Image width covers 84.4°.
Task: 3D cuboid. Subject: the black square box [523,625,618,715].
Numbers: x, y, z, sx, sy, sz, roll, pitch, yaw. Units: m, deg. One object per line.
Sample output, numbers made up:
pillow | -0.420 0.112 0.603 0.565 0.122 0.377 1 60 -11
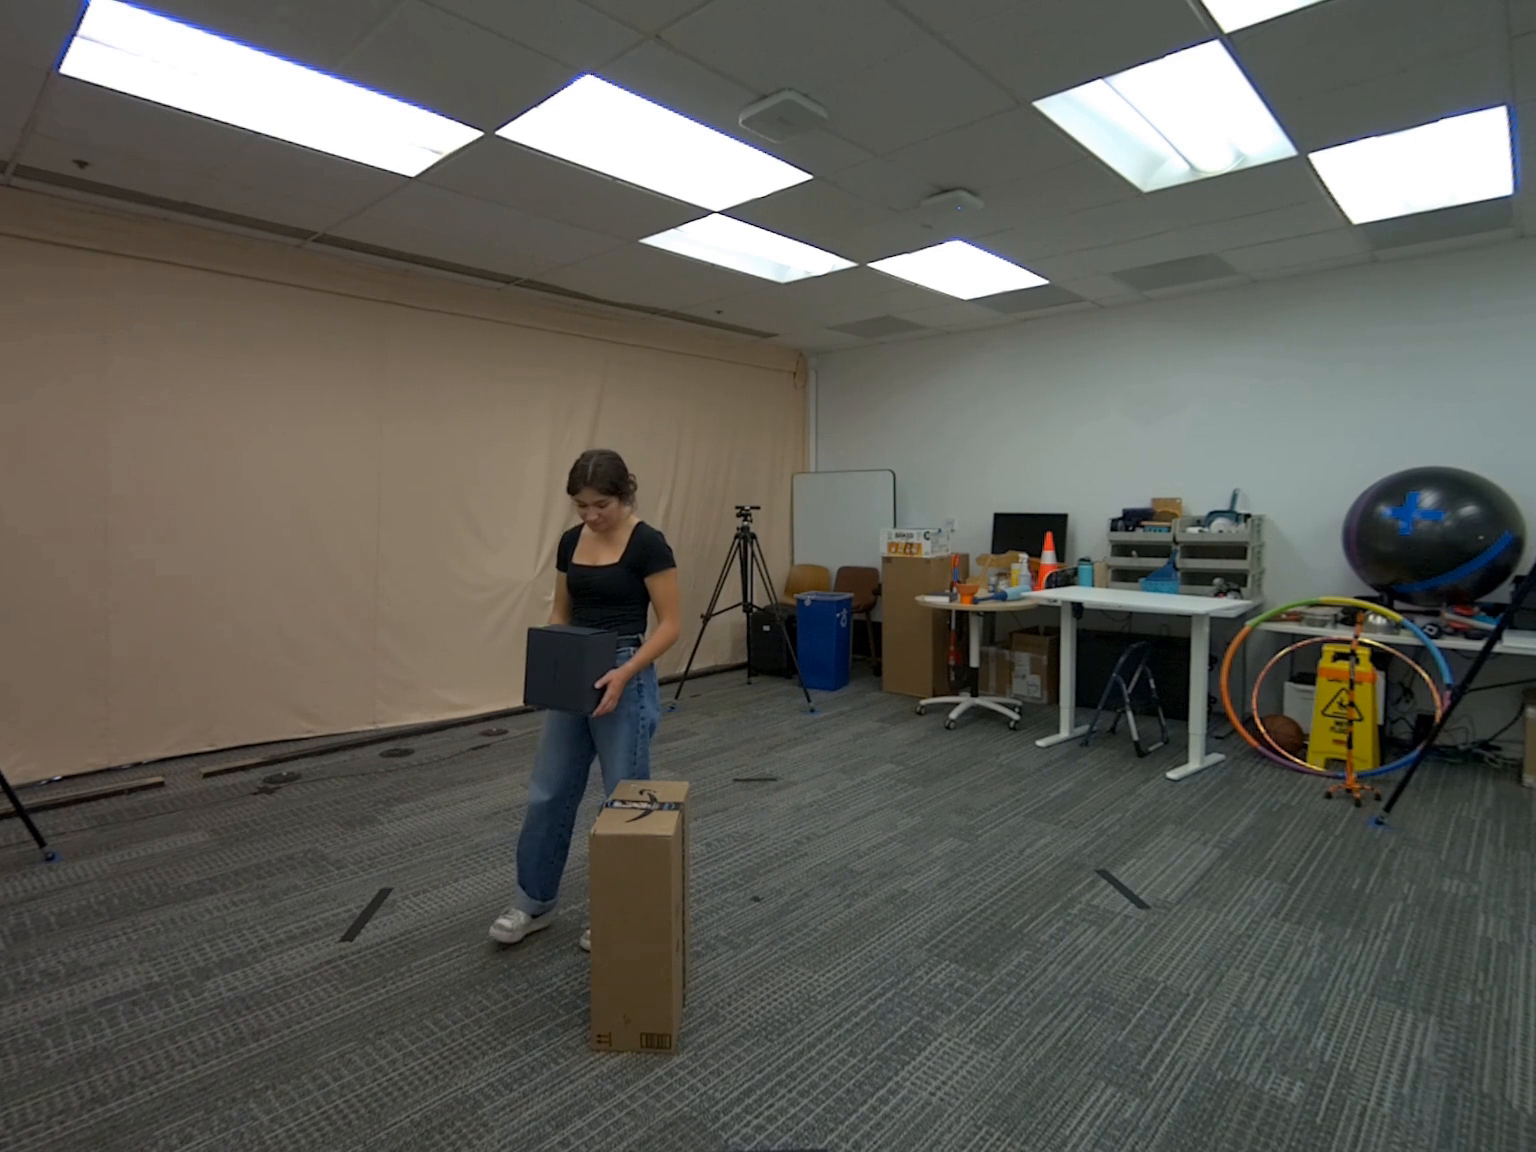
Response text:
black square box | -0.581 0.265 2.473 0.222 0.228 0.152 4 1 23
